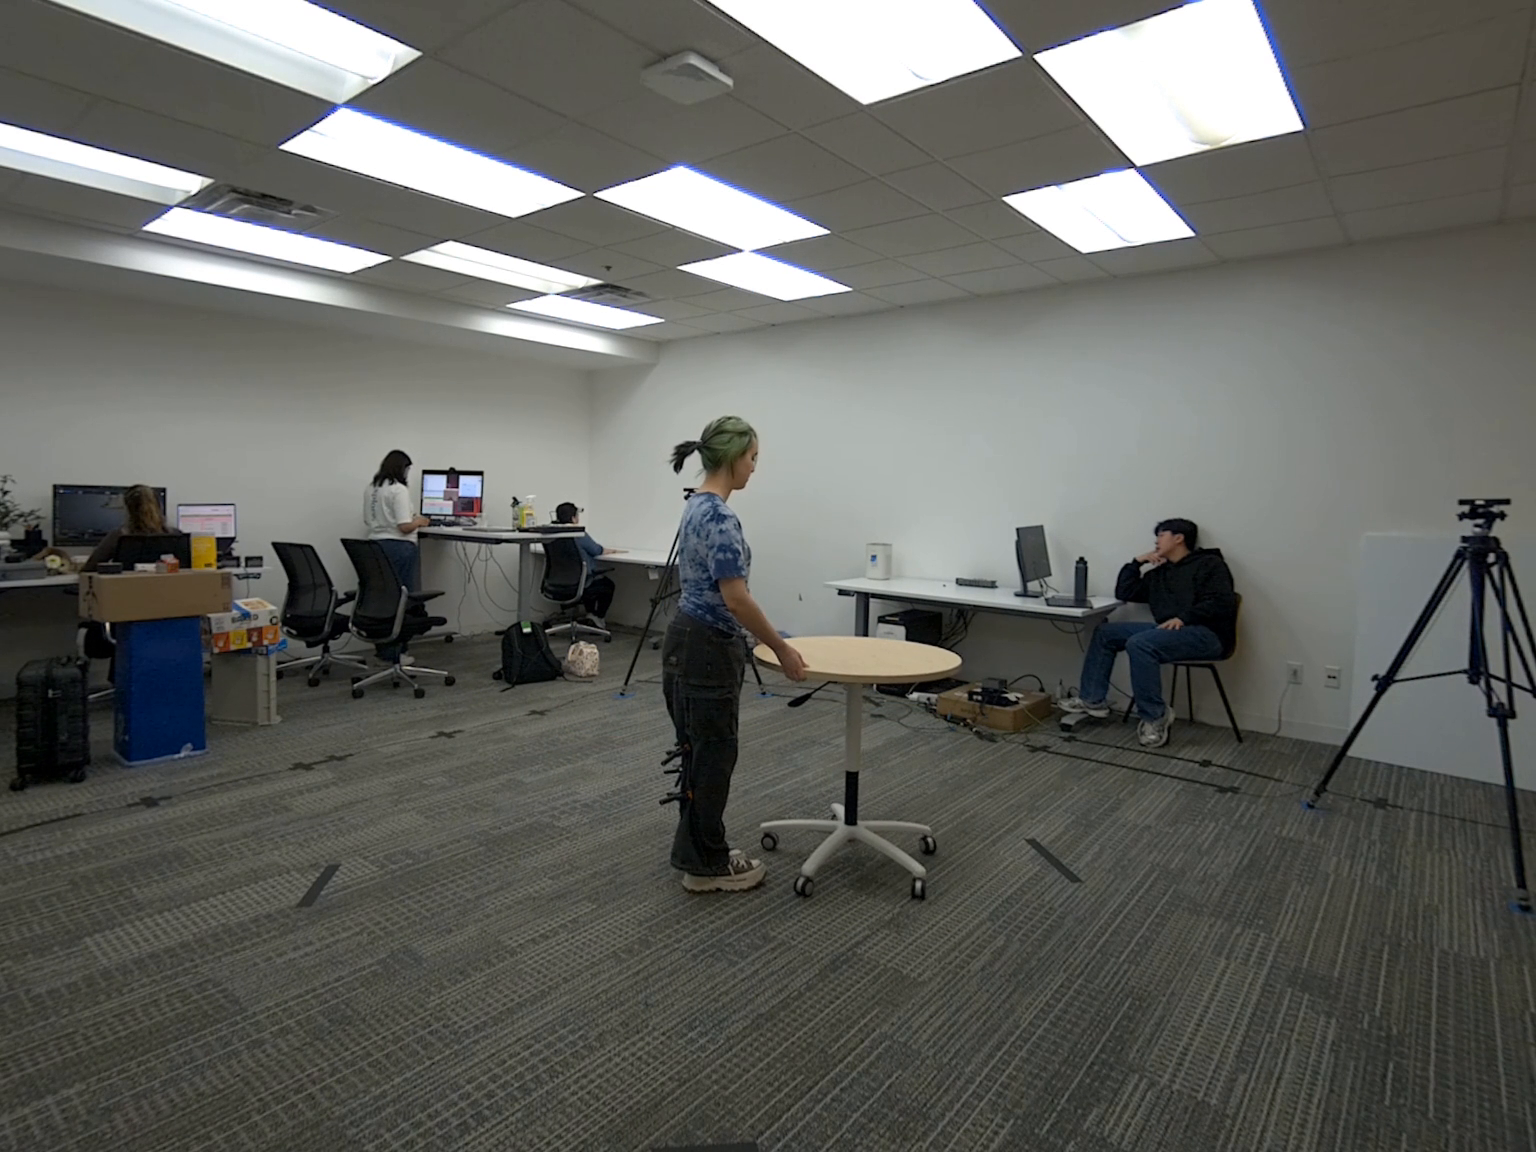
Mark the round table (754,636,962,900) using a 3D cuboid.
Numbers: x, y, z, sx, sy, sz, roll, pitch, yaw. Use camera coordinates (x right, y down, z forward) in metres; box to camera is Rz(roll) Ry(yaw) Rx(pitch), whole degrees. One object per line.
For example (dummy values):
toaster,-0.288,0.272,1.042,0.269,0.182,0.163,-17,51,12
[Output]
round table,0.303,0.685,3.193,0.763,0.791,0.768,1,4,-2
